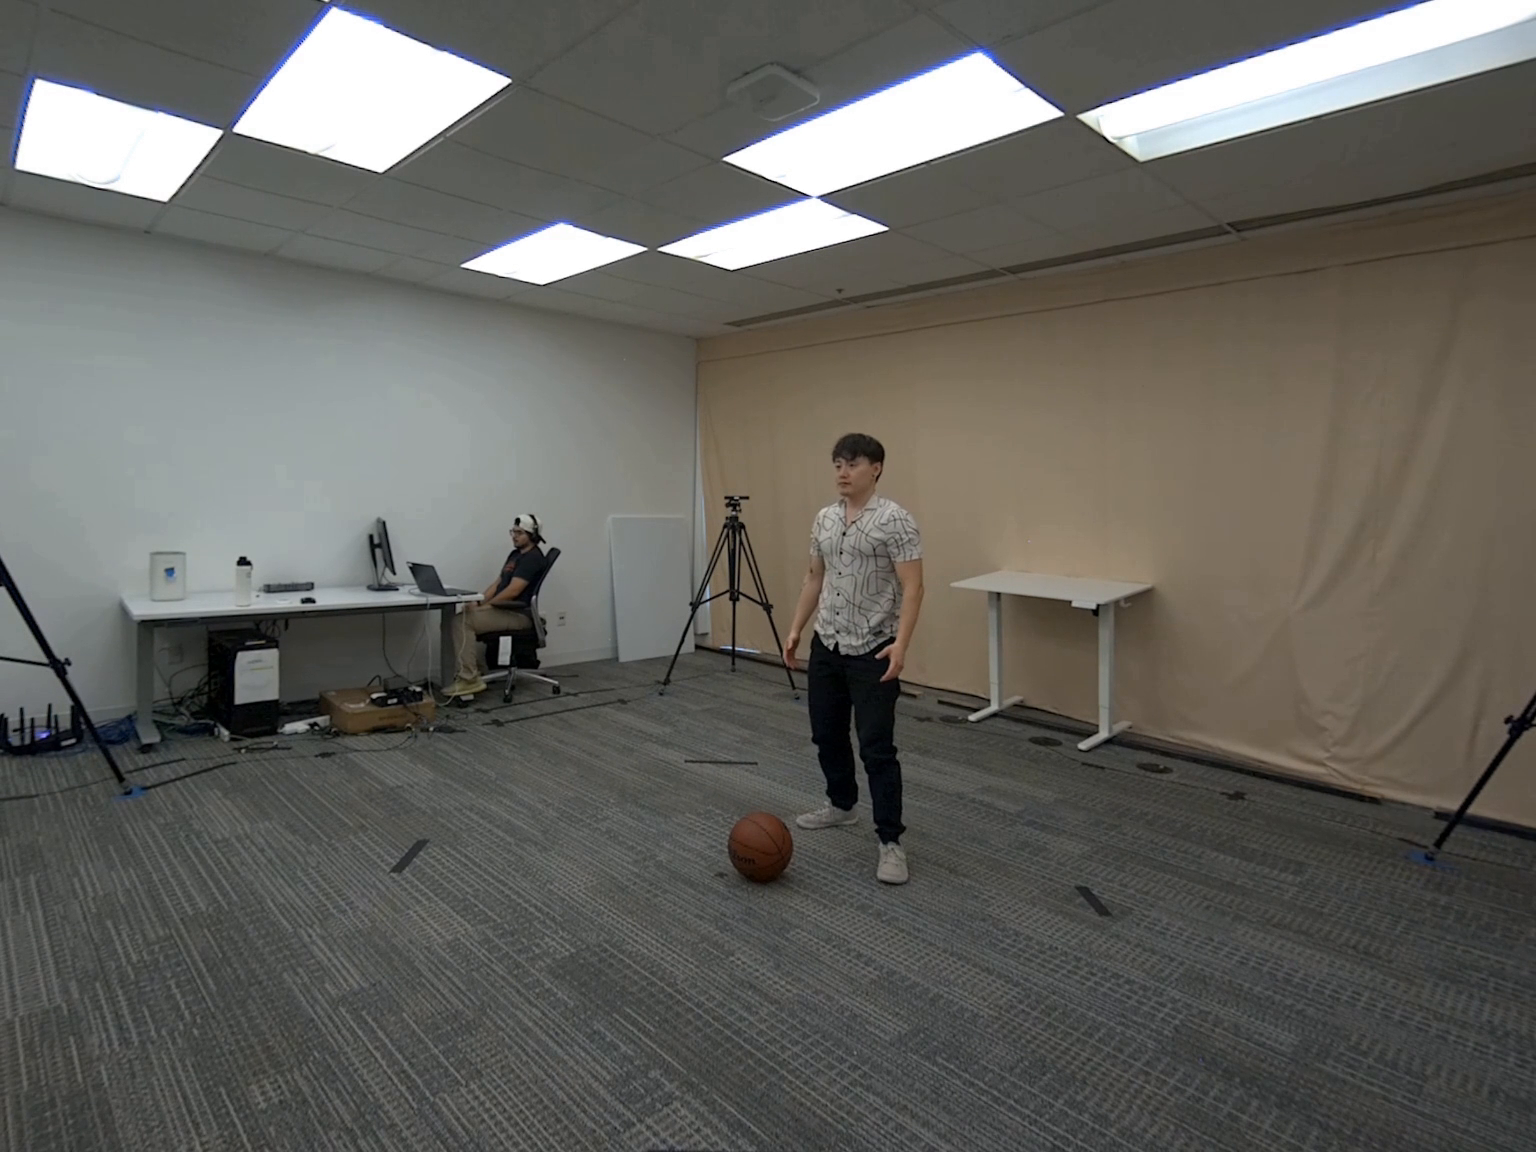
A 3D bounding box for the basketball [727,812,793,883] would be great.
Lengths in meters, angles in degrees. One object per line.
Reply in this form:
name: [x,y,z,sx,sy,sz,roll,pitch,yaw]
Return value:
basketball: [-0.038,0.986,3.082,0.236,0.235,0.237,1,4,-1]
